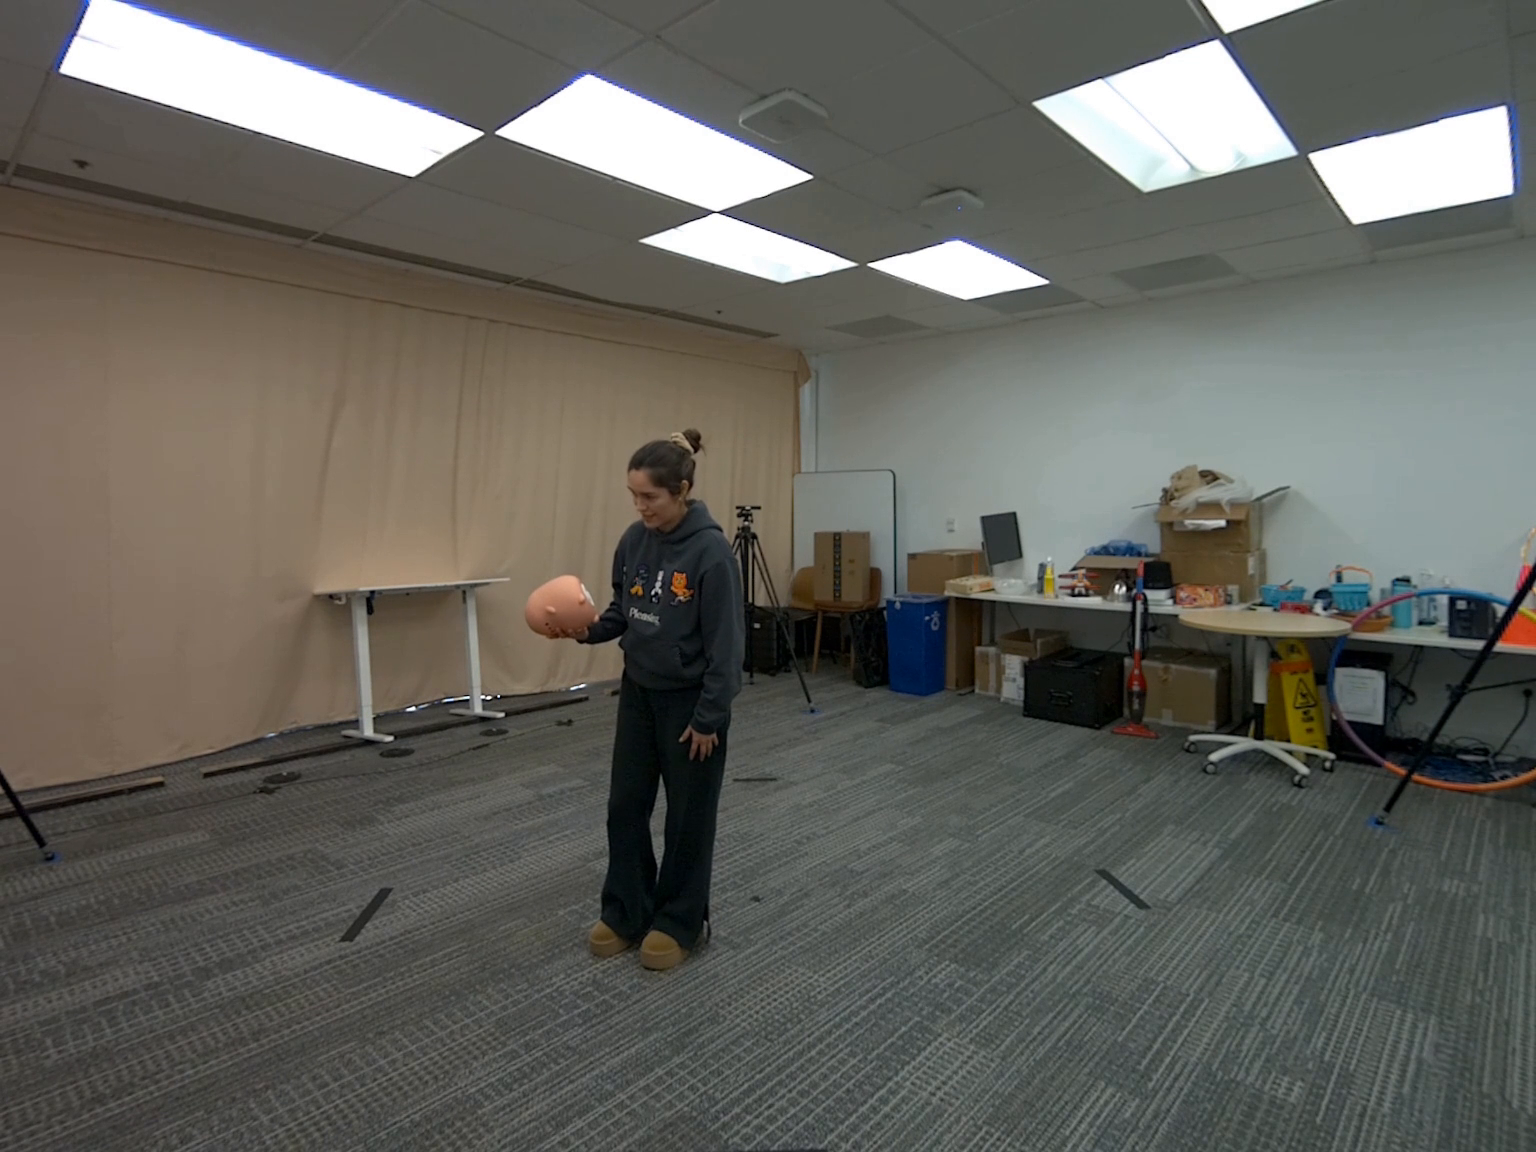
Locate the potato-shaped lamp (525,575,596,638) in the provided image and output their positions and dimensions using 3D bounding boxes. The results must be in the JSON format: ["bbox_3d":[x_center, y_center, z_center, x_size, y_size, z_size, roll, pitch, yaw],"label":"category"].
[{"bbox_3d":[-0.608,0.102,2.477,0.197,0.177,0.160,-28,-37,-6],"label":"potato-shaped lamp"}]
